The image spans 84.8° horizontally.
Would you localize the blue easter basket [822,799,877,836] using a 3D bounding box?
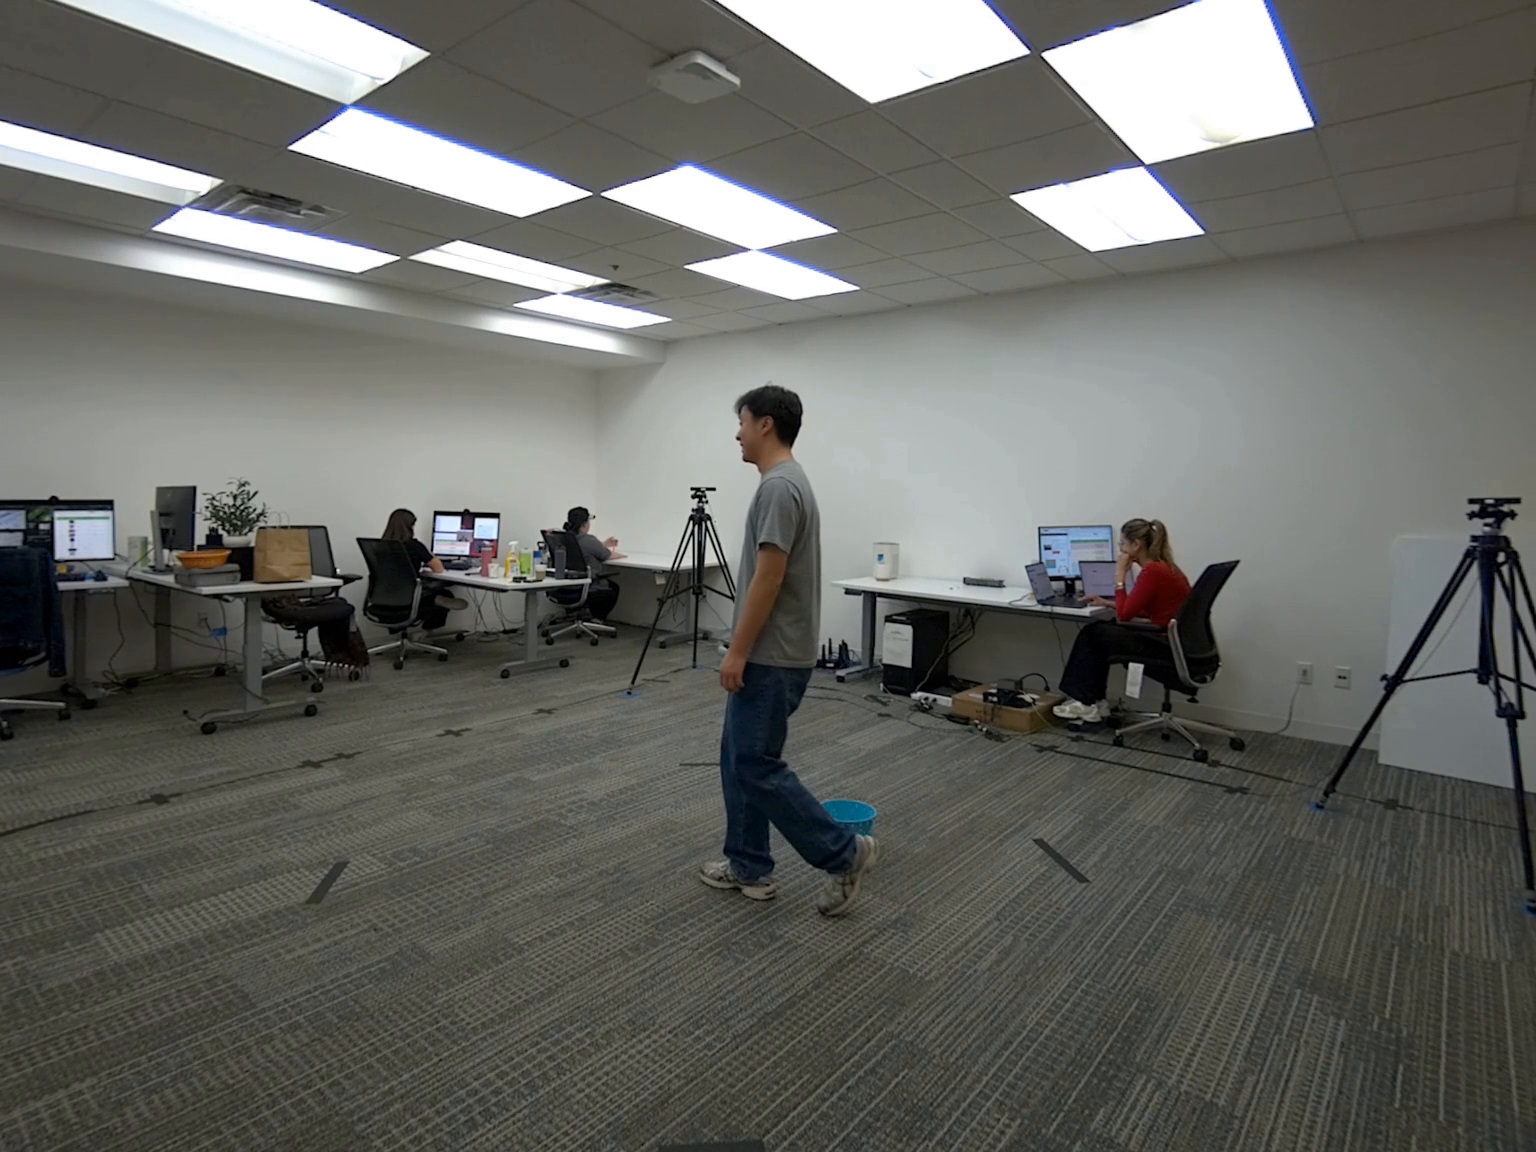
[{"bbox_3d":[0.289,0.974,3.302,0.243,0.155,0.245,1,4,-2],"label":"blue easter basket"}]
